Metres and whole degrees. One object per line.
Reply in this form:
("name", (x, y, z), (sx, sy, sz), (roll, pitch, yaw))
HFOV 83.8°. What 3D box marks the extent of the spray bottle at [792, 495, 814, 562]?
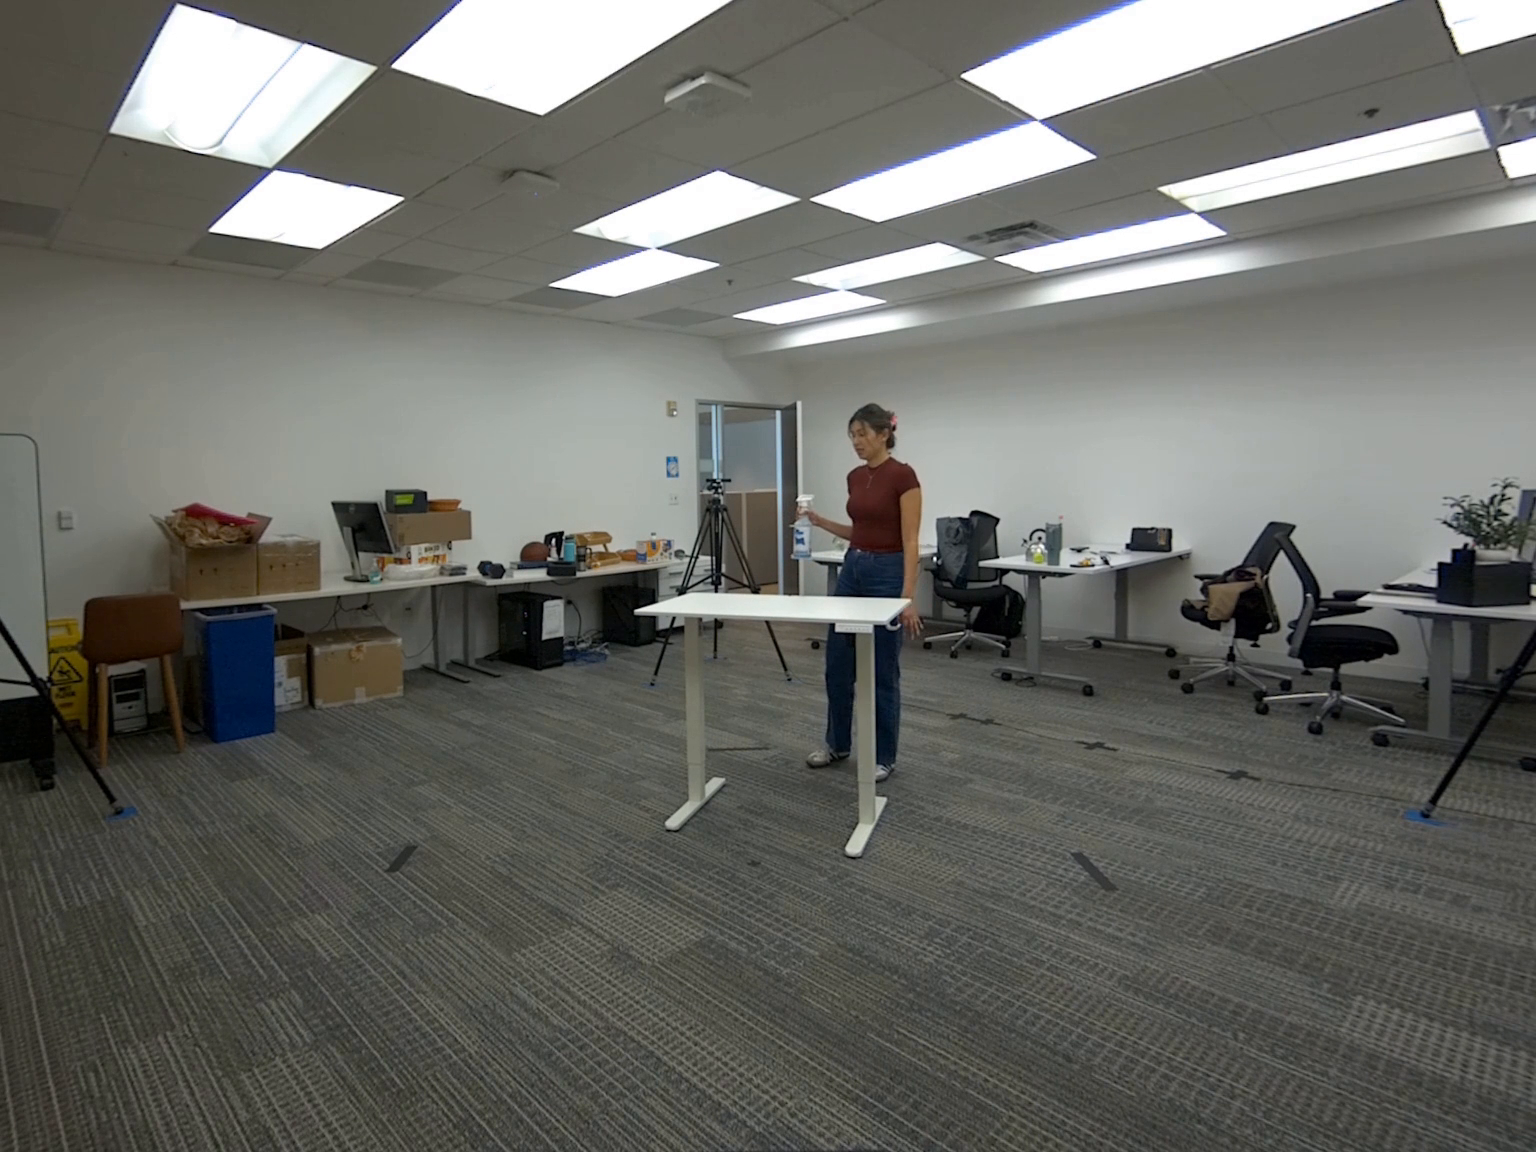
("spray bottle", (0.174, -0.240, 4.064), (0.090, 0.296, 0.087), (3, 5, 2))
